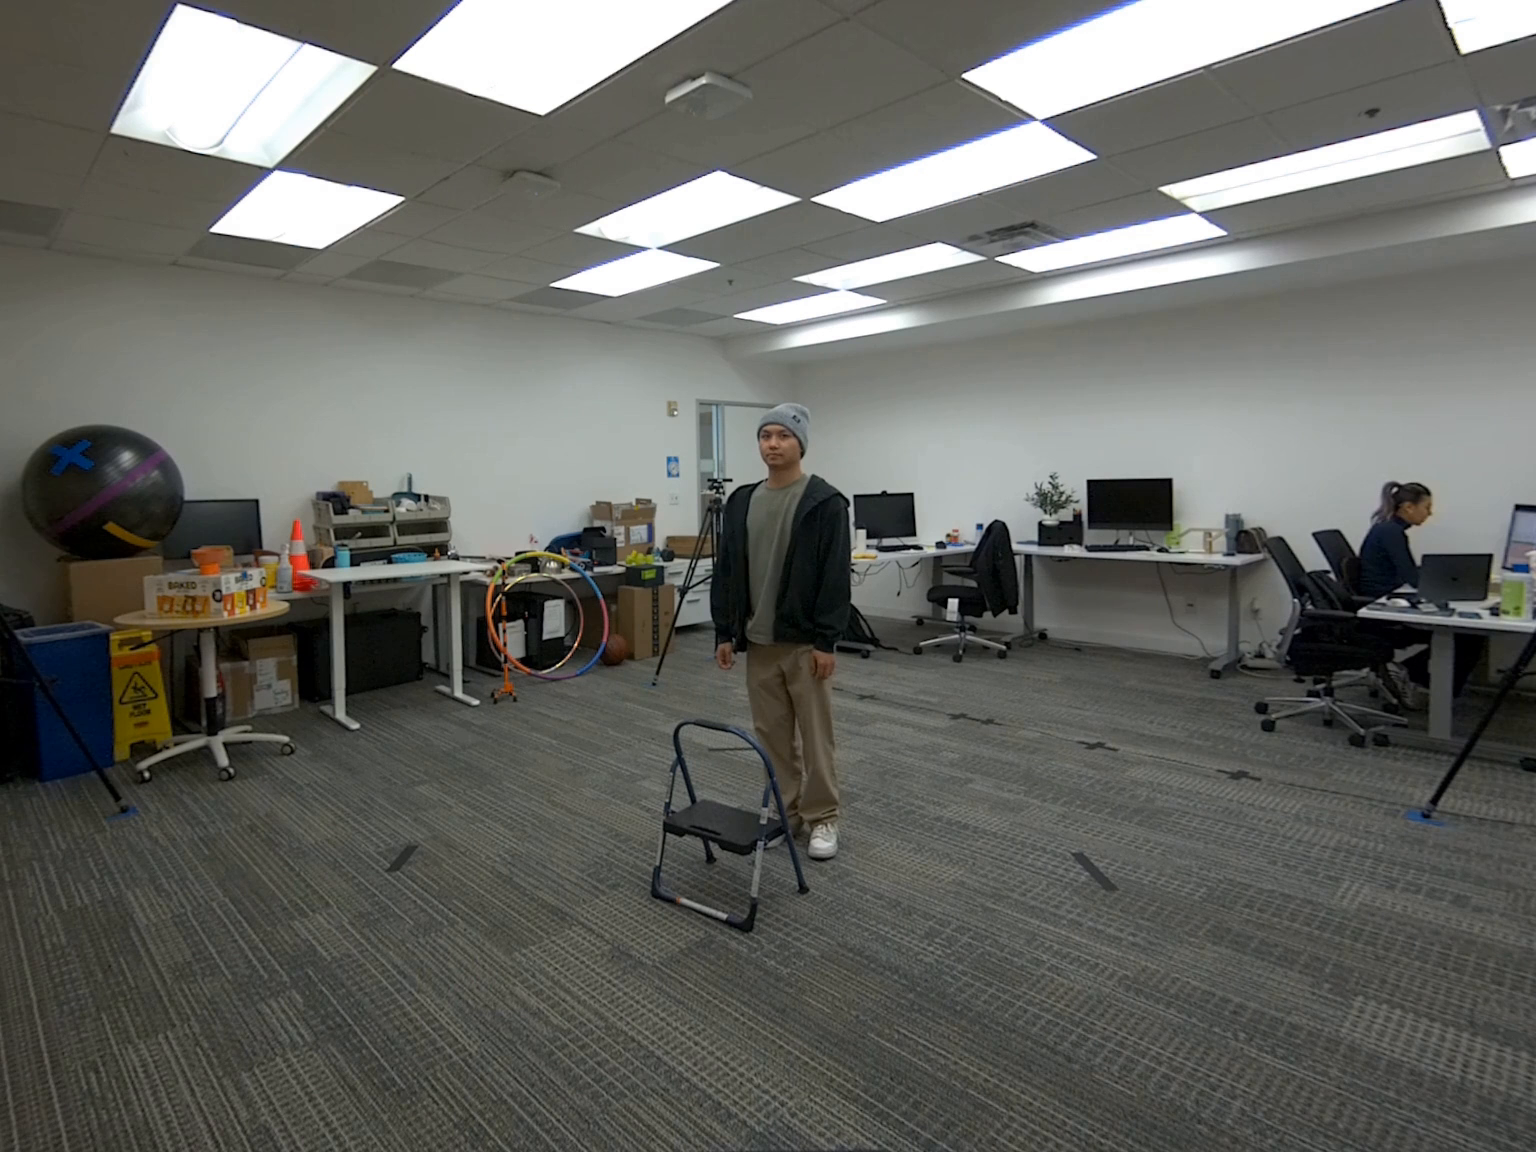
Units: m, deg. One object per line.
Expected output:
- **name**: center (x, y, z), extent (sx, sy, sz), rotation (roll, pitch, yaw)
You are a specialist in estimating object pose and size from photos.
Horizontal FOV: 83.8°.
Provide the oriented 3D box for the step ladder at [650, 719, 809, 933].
- **step ladder**: center (-0.136, 0.771, 2.865), extent (0.443, 0.604, 0.341), rotation (2, 5, 35)
